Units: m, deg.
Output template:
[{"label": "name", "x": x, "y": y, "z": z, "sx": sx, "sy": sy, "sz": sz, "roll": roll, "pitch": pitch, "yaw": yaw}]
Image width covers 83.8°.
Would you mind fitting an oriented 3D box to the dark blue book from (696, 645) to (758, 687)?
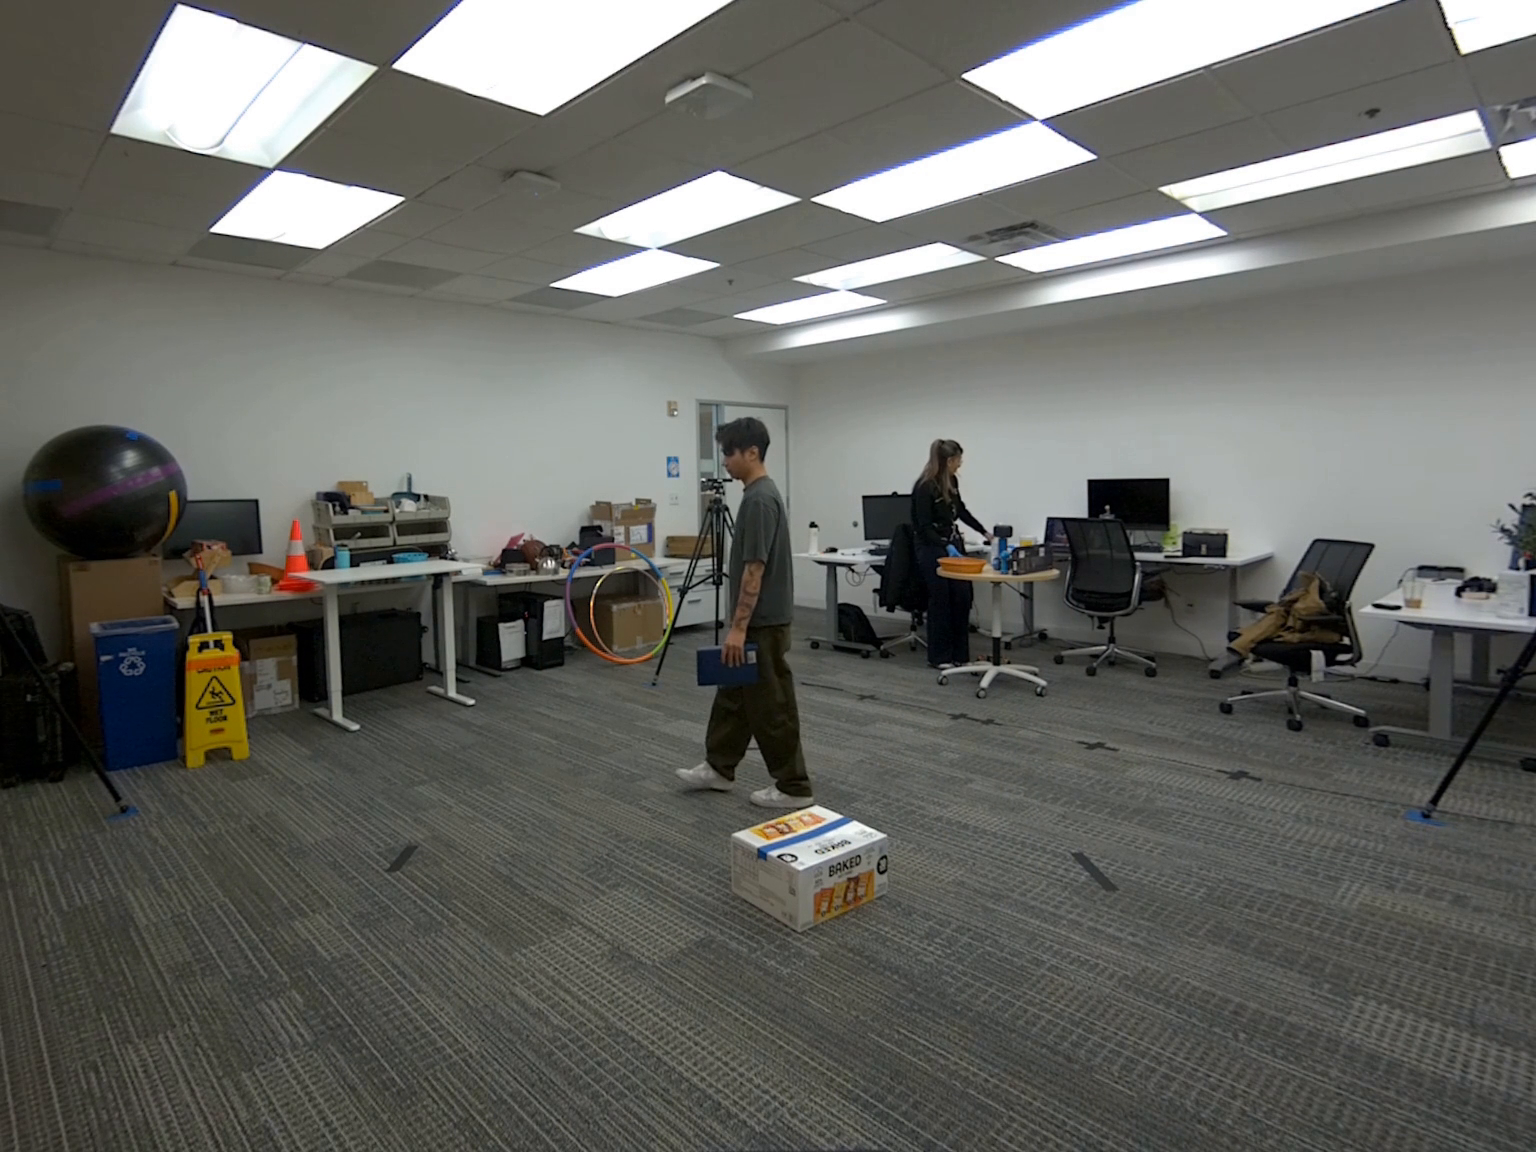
[{"label": "dark blue book", "x": -0.154, "y": 0.364, "z": 3.468, "sx": 0.245, "sy": 0.161, "sz": 0.046, "roll": -1, "pitch": 14, "yaw": -1}]
